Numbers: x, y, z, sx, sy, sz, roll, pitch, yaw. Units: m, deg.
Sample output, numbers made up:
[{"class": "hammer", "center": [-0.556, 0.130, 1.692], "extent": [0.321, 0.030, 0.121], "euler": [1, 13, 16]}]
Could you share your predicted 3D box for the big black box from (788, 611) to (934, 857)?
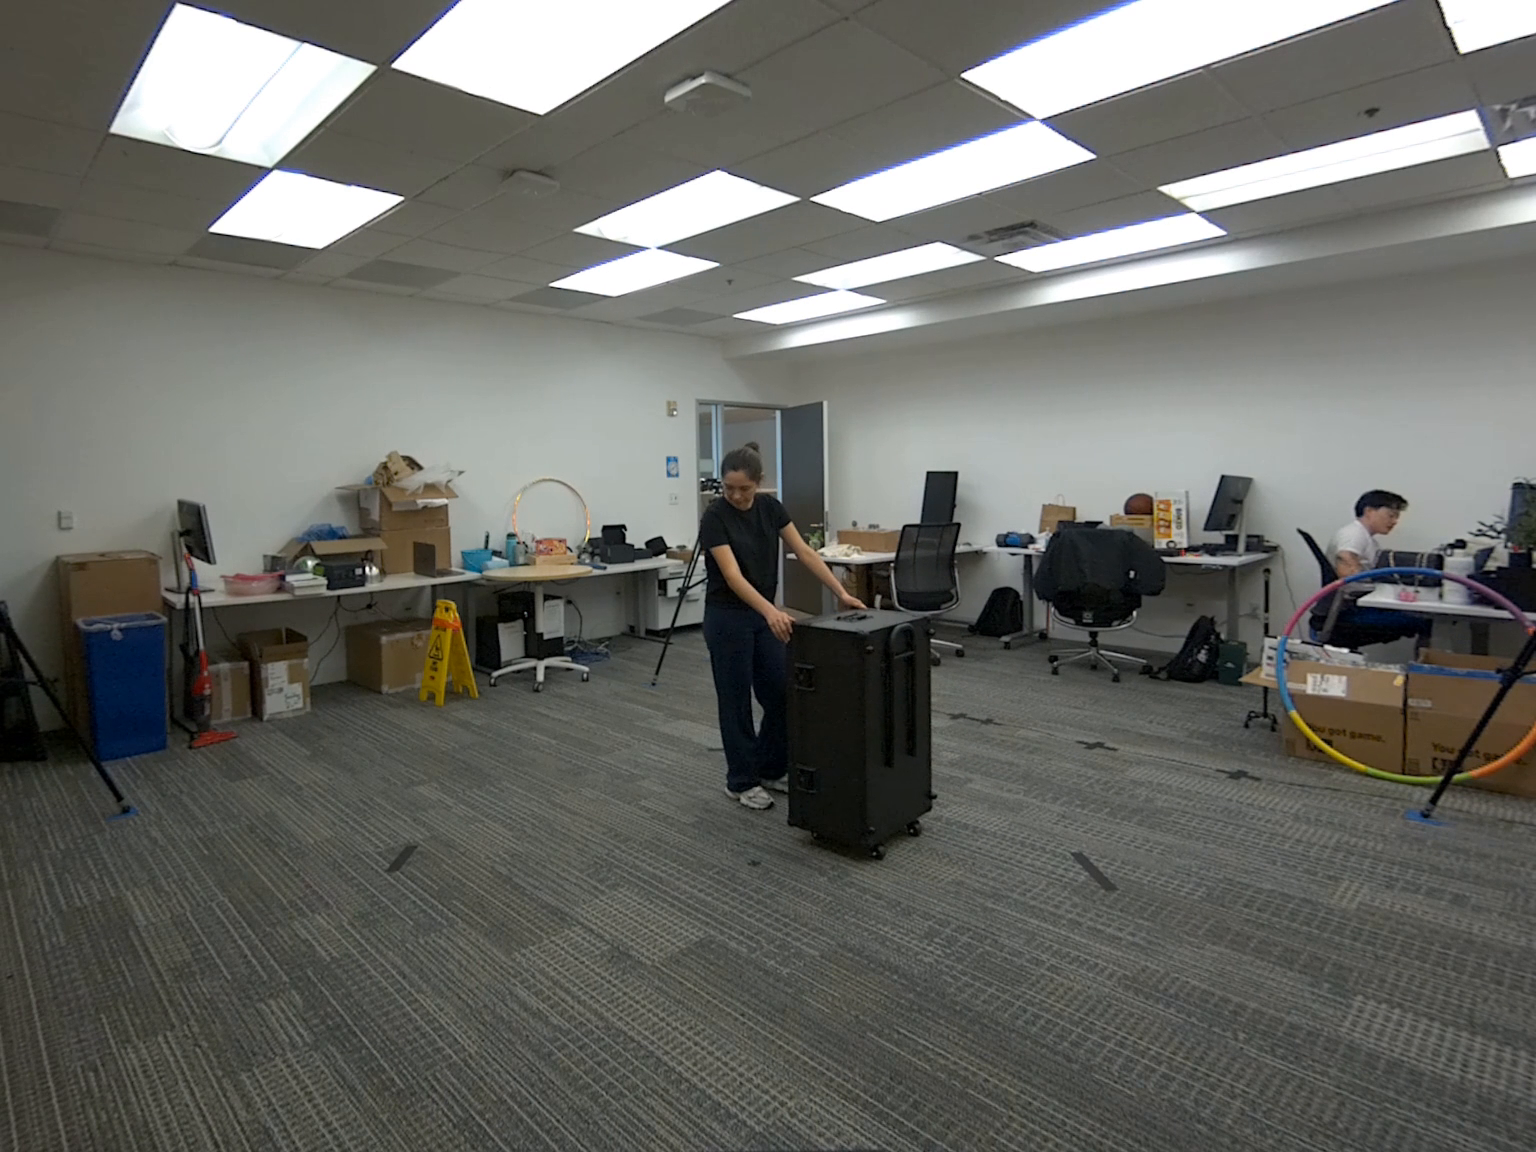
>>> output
[{"class": "big black box", "center": [0.371, 0.587, 3.317], "extent": [0.408, 0.858, 0.508], "euler": [3, 6, 41]}]
